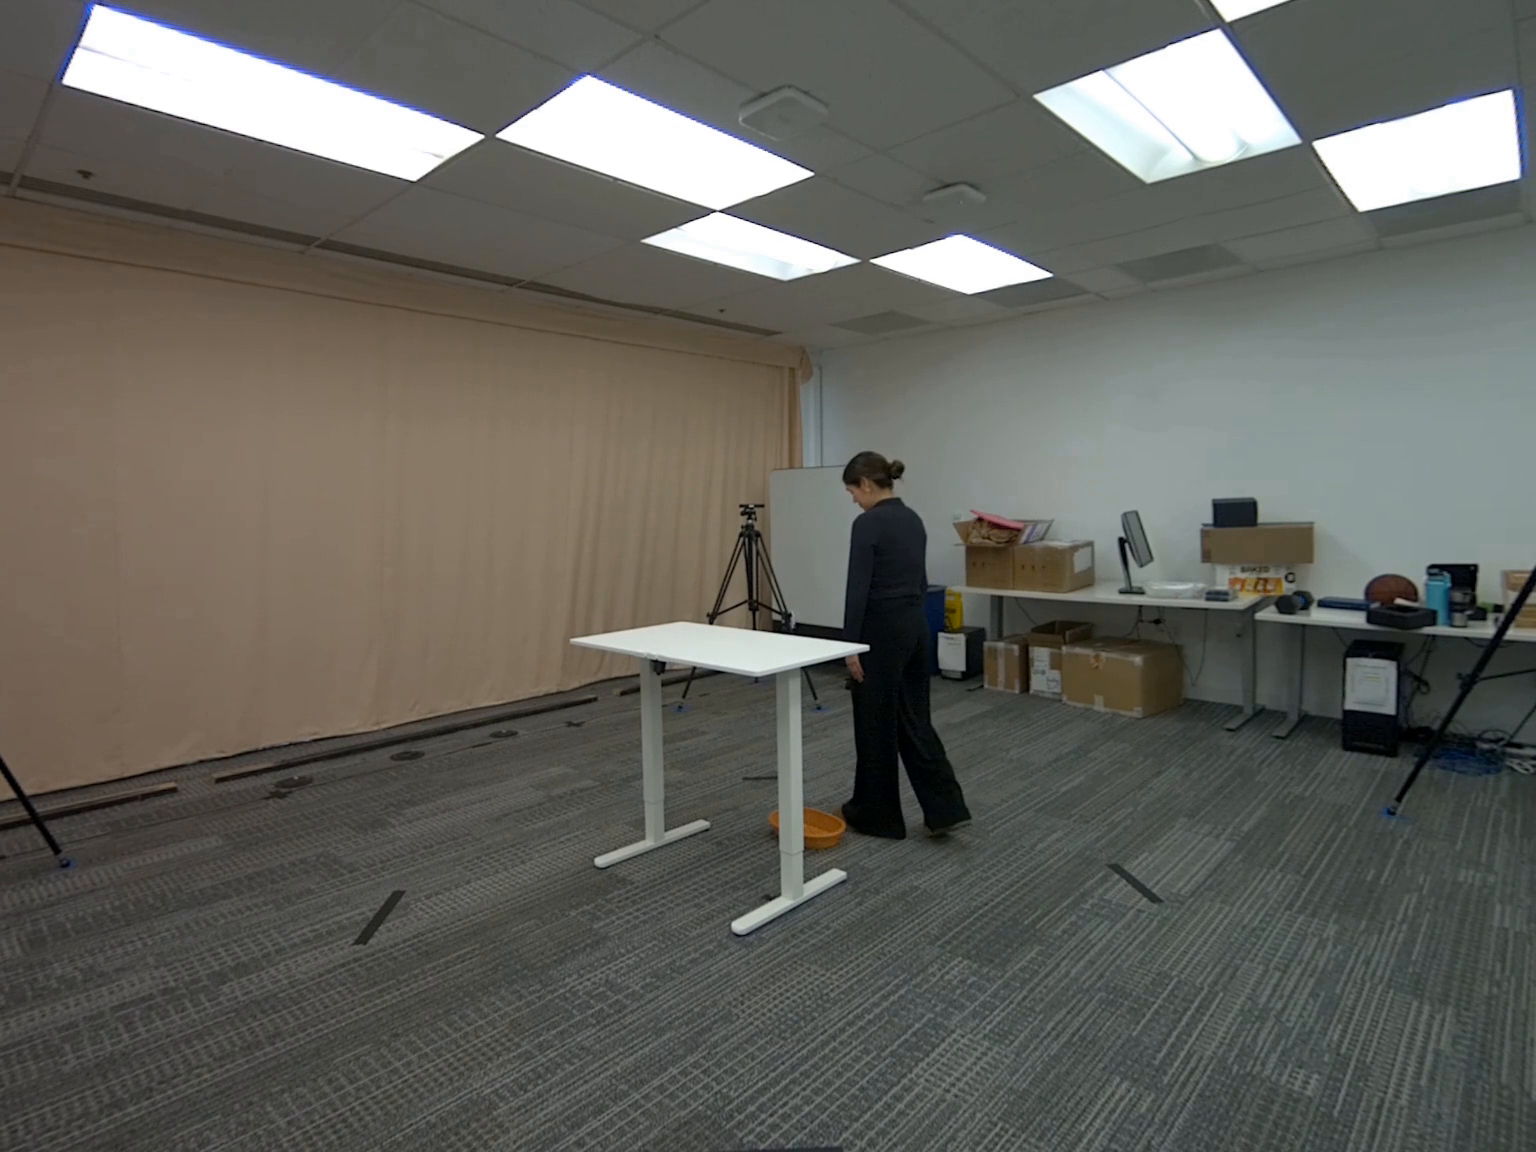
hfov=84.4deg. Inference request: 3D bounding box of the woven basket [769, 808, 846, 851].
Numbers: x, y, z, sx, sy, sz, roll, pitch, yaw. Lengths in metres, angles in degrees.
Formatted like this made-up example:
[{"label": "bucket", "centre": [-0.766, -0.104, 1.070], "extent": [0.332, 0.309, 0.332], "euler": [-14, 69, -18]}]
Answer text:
[{"label": "woven basket", "centre": [0.161, 1.047, 3.510], "extent": [0.245, 0.073, 0.362], "euler": [-6, 7, -42]}]
